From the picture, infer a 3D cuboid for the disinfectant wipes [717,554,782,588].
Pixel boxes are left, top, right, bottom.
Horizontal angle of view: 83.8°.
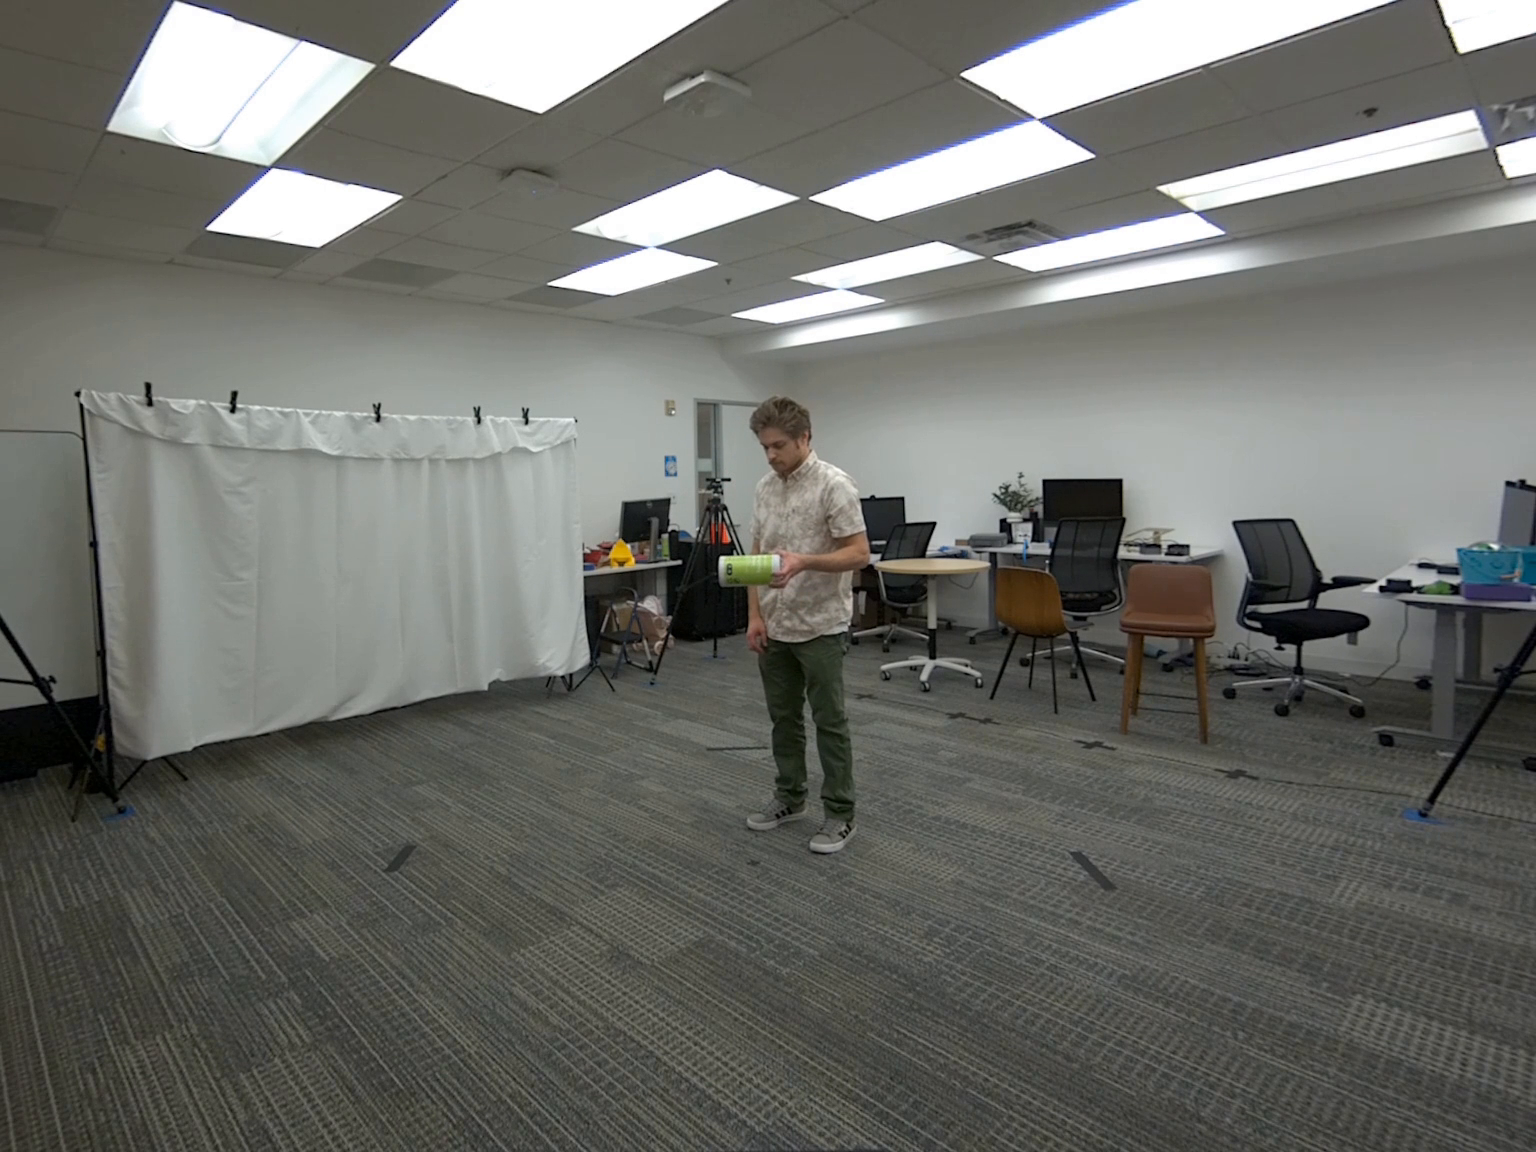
[{"bbox_3d":[-0.059,-0.022,3.014,0.220,0.117,0.117,-2,5,13],"label":"disinfectant wipes"}]
